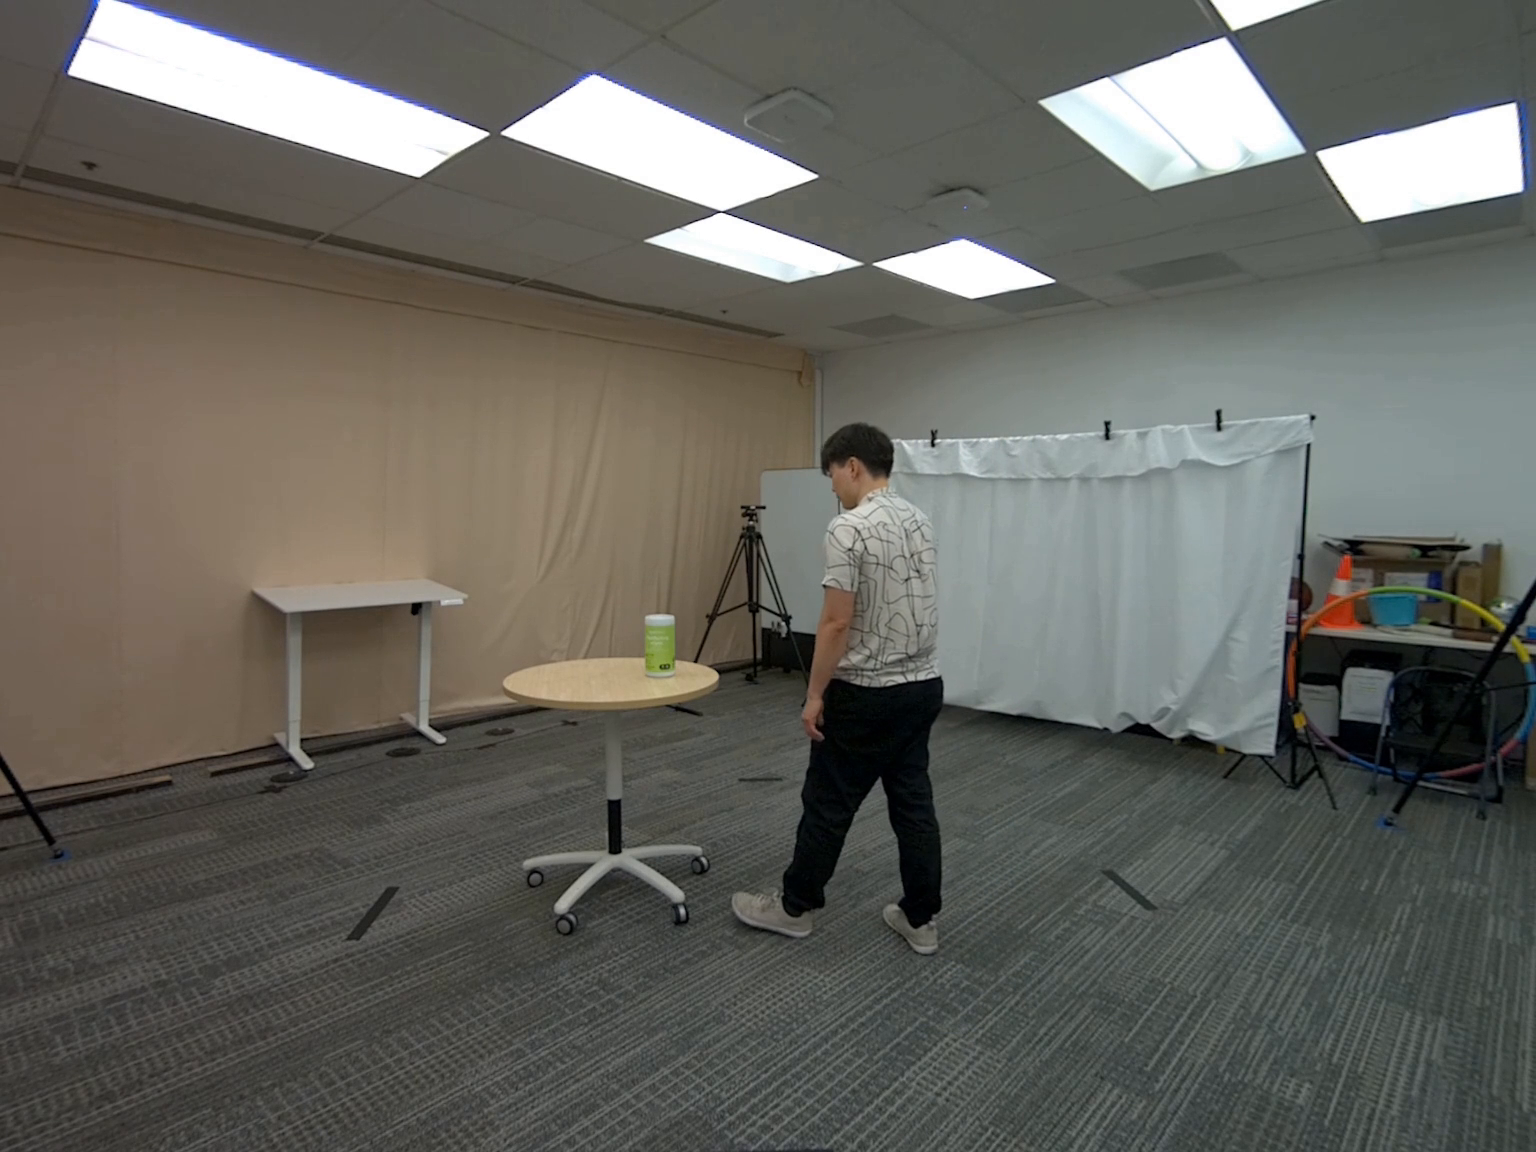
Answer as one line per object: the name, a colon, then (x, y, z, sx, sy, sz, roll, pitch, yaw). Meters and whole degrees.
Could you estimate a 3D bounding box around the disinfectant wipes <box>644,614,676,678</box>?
disinfectant wipes: (-0.390, 0.254, 3.050, 0.118, 0.217, 0.118, 0, 4, -2)
